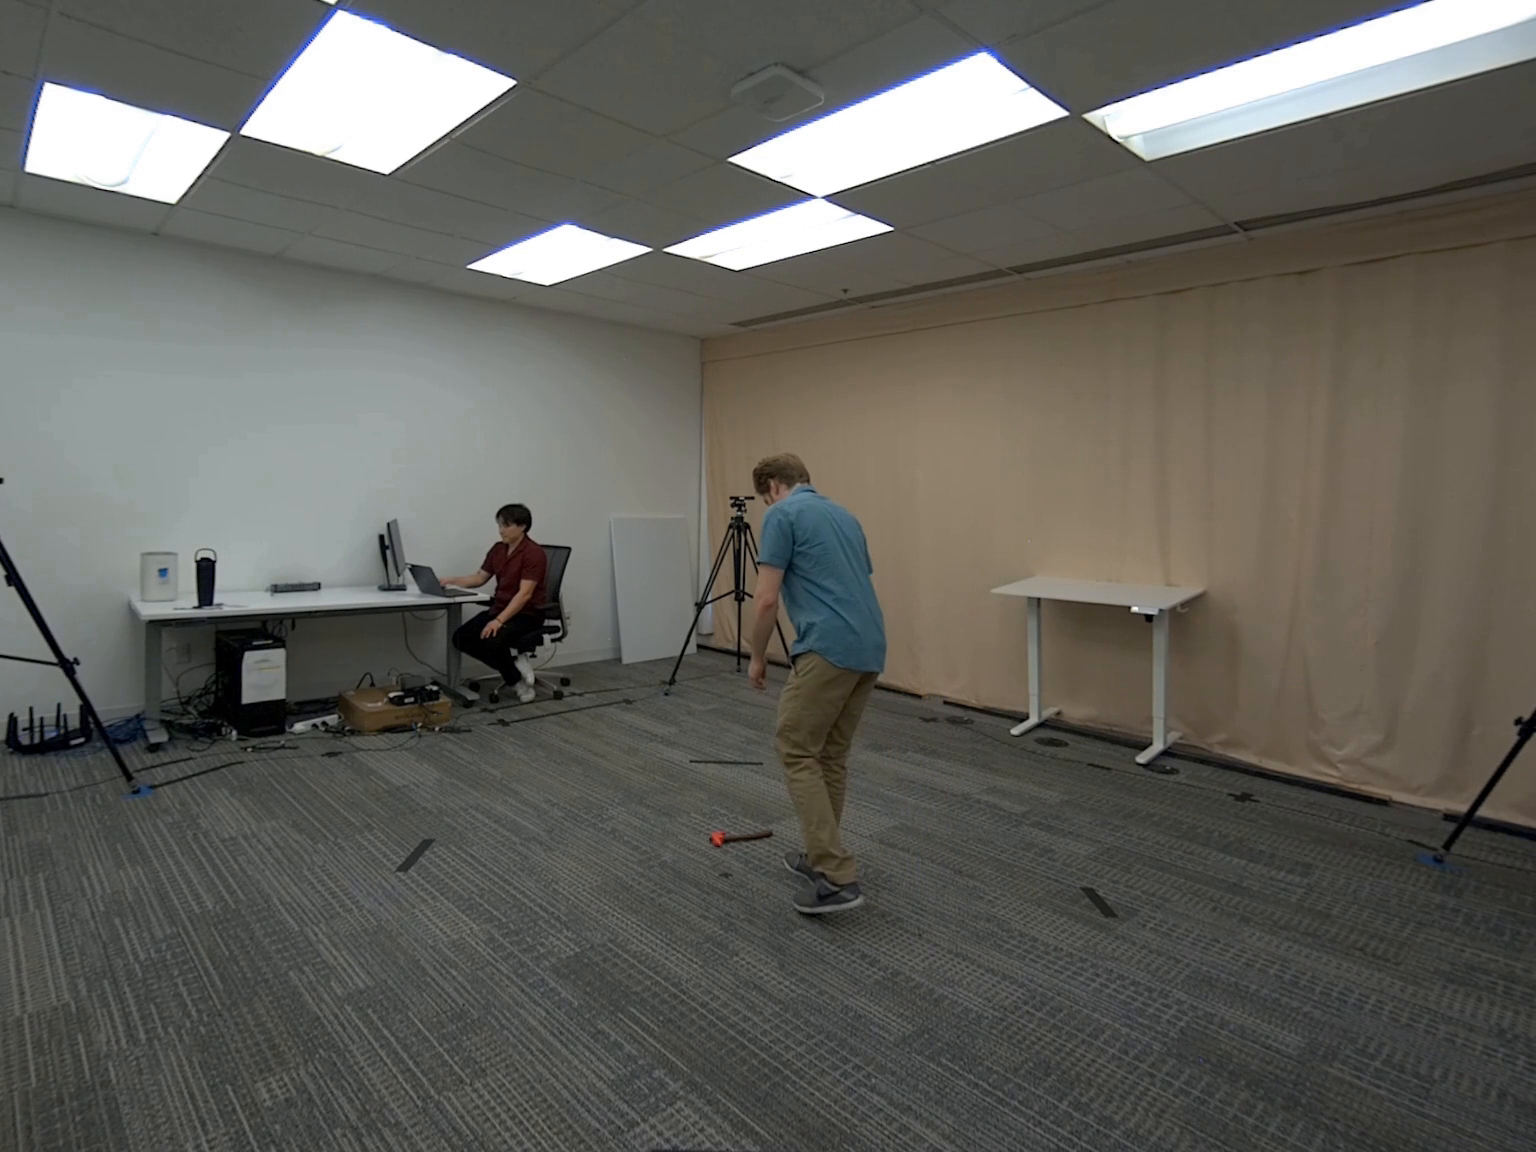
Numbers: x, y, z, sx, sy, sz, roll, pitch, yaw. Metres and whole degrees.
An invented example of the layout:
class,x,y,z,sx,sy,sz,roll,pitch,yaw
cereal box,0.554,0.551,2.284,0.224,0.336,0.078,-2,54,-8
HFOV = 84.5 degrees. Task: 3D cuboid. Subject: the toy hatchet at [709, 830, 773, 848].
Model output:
class,x,y,z,sx,sy,sz,roll,pitch,yaw
toy hatchet,-0.133,1.063,3.455,0.264,0.029,0.134,0,2,-34
